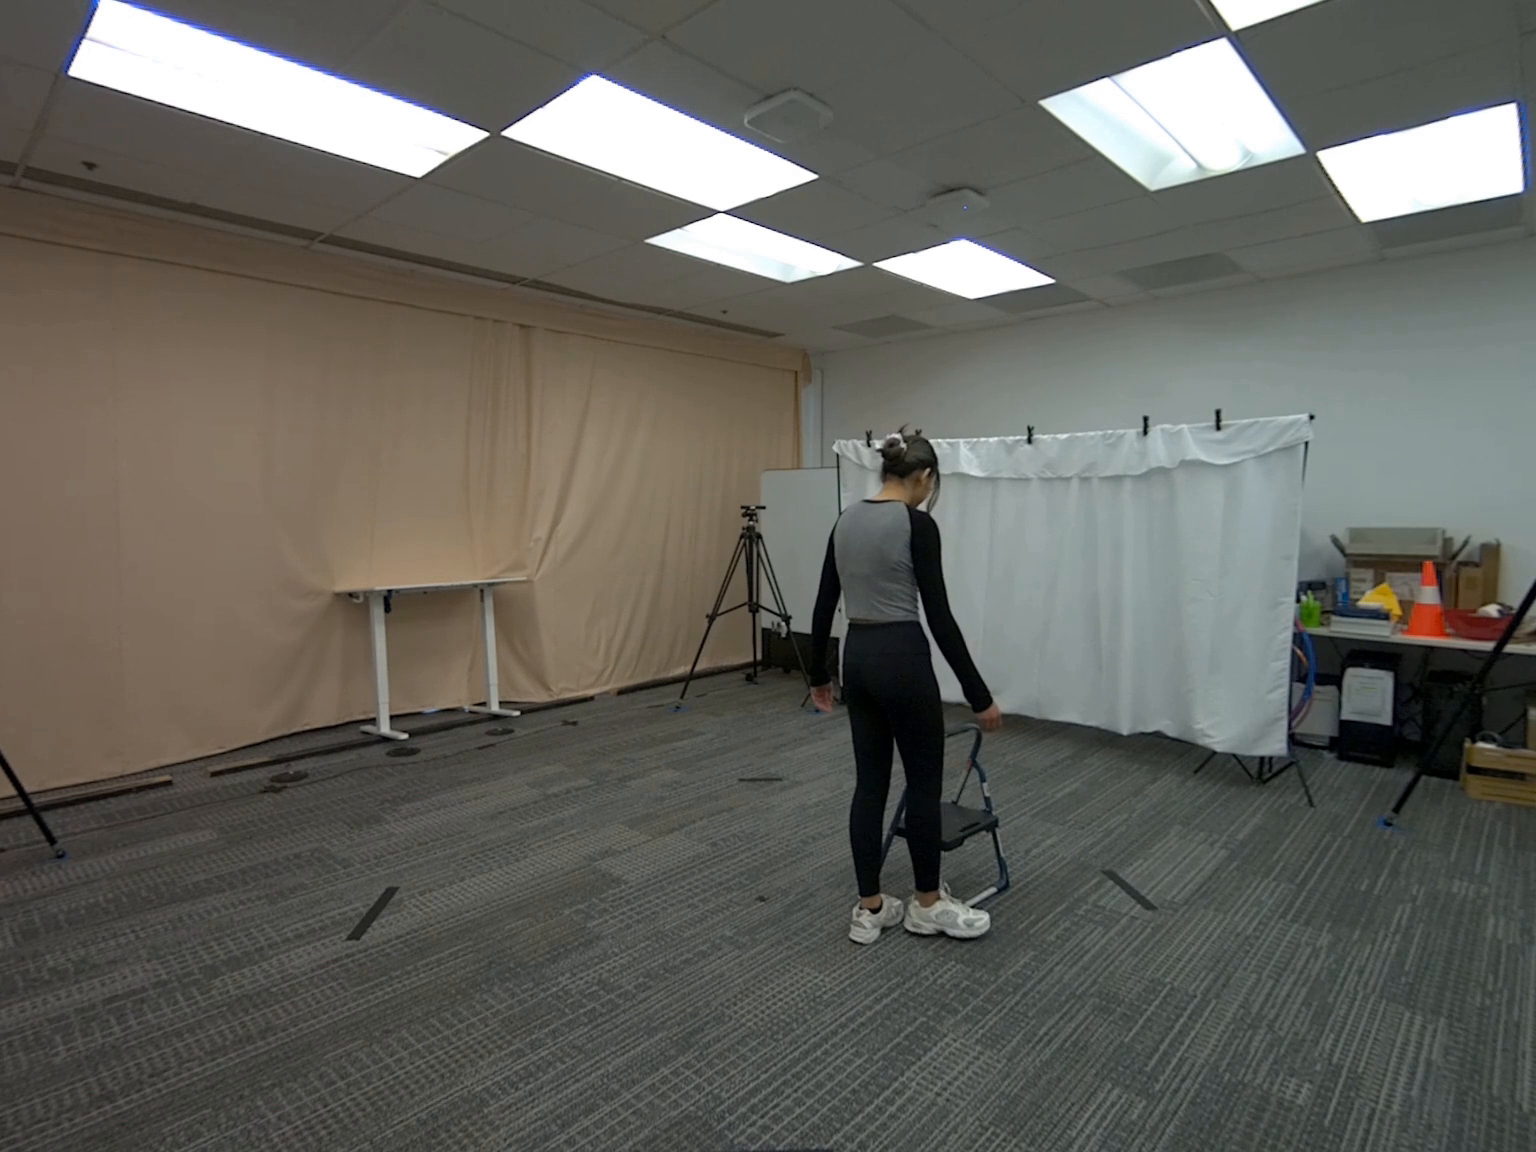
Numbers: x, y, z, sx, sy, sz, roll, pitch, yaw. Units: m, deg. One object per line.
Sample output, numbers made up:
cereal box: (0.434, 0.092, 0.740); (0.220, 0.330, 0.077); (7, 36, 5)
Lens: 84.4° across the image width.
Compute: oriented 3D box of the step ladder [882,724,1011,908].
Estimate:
step ladder: (0.622, 0.835, 3.045); (0.417, 0.605, 0.361); (-3, 5, -44)
